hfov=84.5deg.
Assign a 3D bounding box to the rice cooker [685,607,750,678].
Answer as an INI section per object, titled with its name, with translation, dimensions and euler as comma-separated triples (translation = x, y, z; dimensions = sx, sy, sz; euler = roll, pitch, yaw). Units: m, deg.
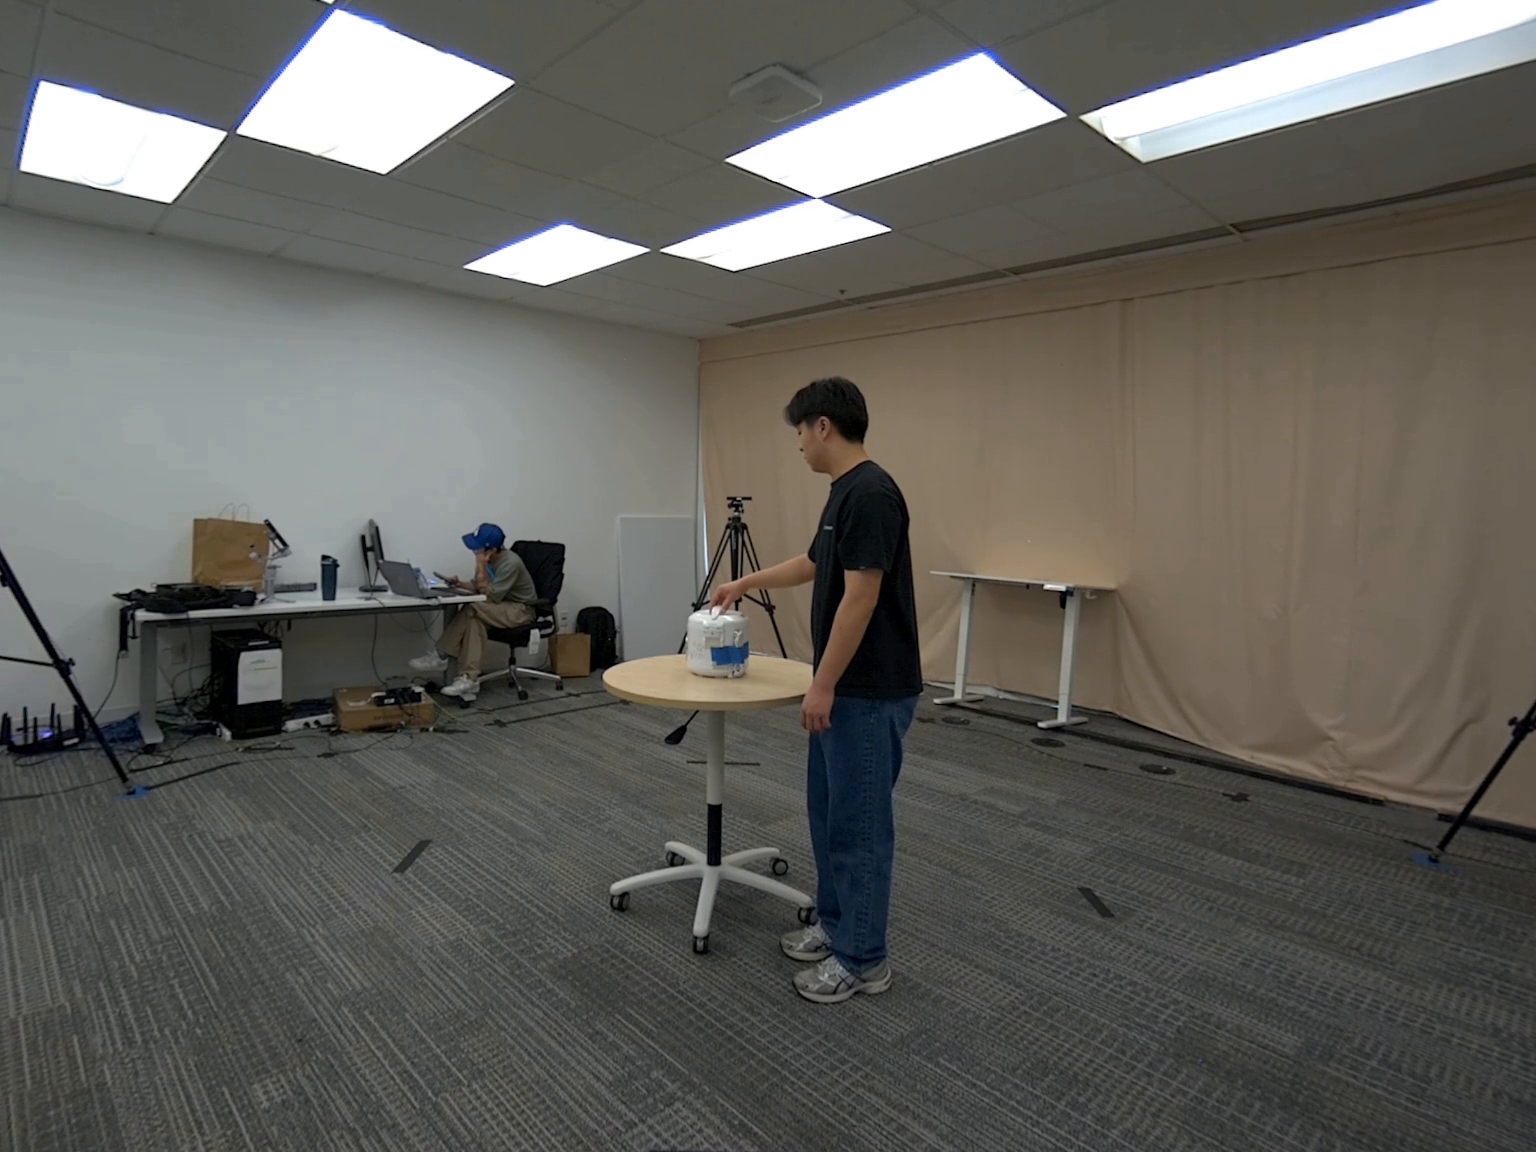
[rice cooker]
translation = -0.170, 0.218, 2.862
dimensions = 0.219, 0.232, 0.220
euler = 3, 5, 8
